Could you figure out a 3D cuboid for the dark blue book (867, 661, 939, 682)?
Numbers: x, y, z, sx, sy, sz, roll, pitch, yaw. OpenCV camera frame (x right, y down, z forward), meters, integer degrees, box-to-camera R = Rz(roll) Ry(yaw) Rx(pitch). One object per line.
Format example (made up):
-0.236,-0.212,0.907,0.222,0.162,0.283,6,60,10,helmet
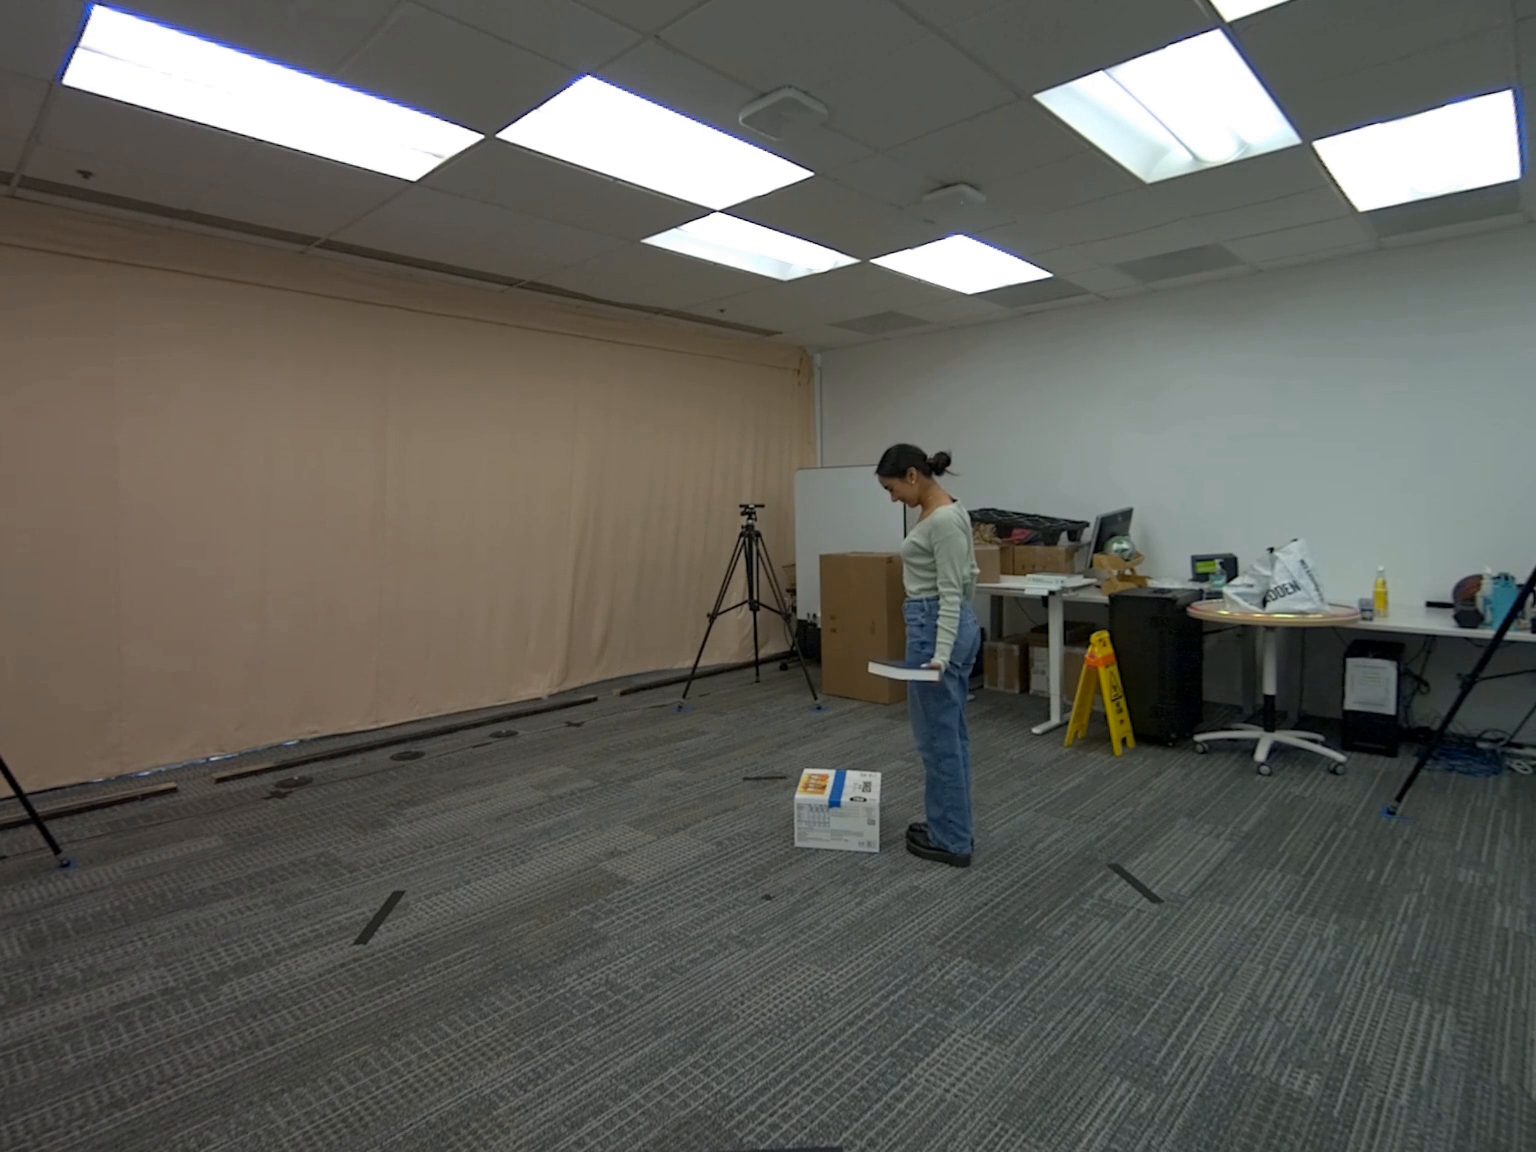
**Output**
0.504,0.344,3.056,0.160,0.045,0.250,4,0,-20,dark blue book
